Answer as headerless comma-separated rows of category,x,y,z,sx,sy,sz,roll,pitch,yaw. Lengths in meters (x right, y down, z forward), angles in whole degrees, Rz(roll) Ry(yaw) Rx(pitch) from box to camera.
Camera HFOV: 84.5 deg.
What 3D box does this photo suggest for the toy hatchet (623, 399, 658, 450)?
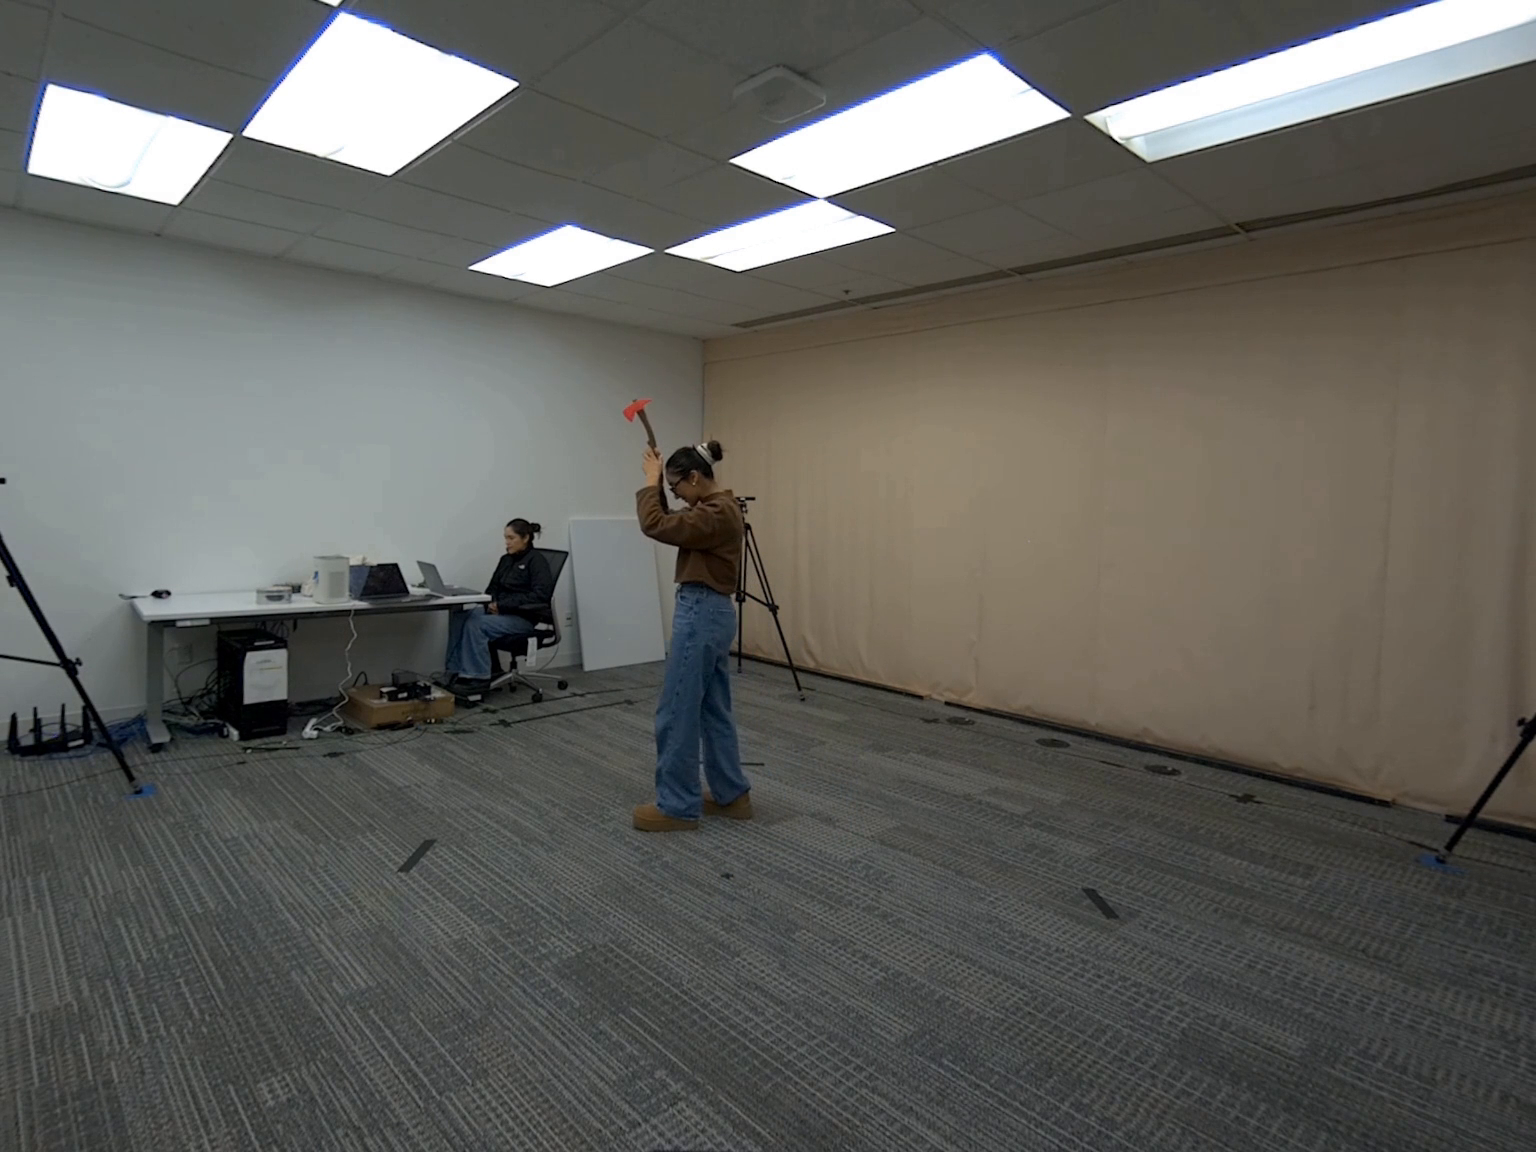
toy hatchet,-0.546,-0.619,3.569,0.131,0.269,0.030,-8,3,-3
